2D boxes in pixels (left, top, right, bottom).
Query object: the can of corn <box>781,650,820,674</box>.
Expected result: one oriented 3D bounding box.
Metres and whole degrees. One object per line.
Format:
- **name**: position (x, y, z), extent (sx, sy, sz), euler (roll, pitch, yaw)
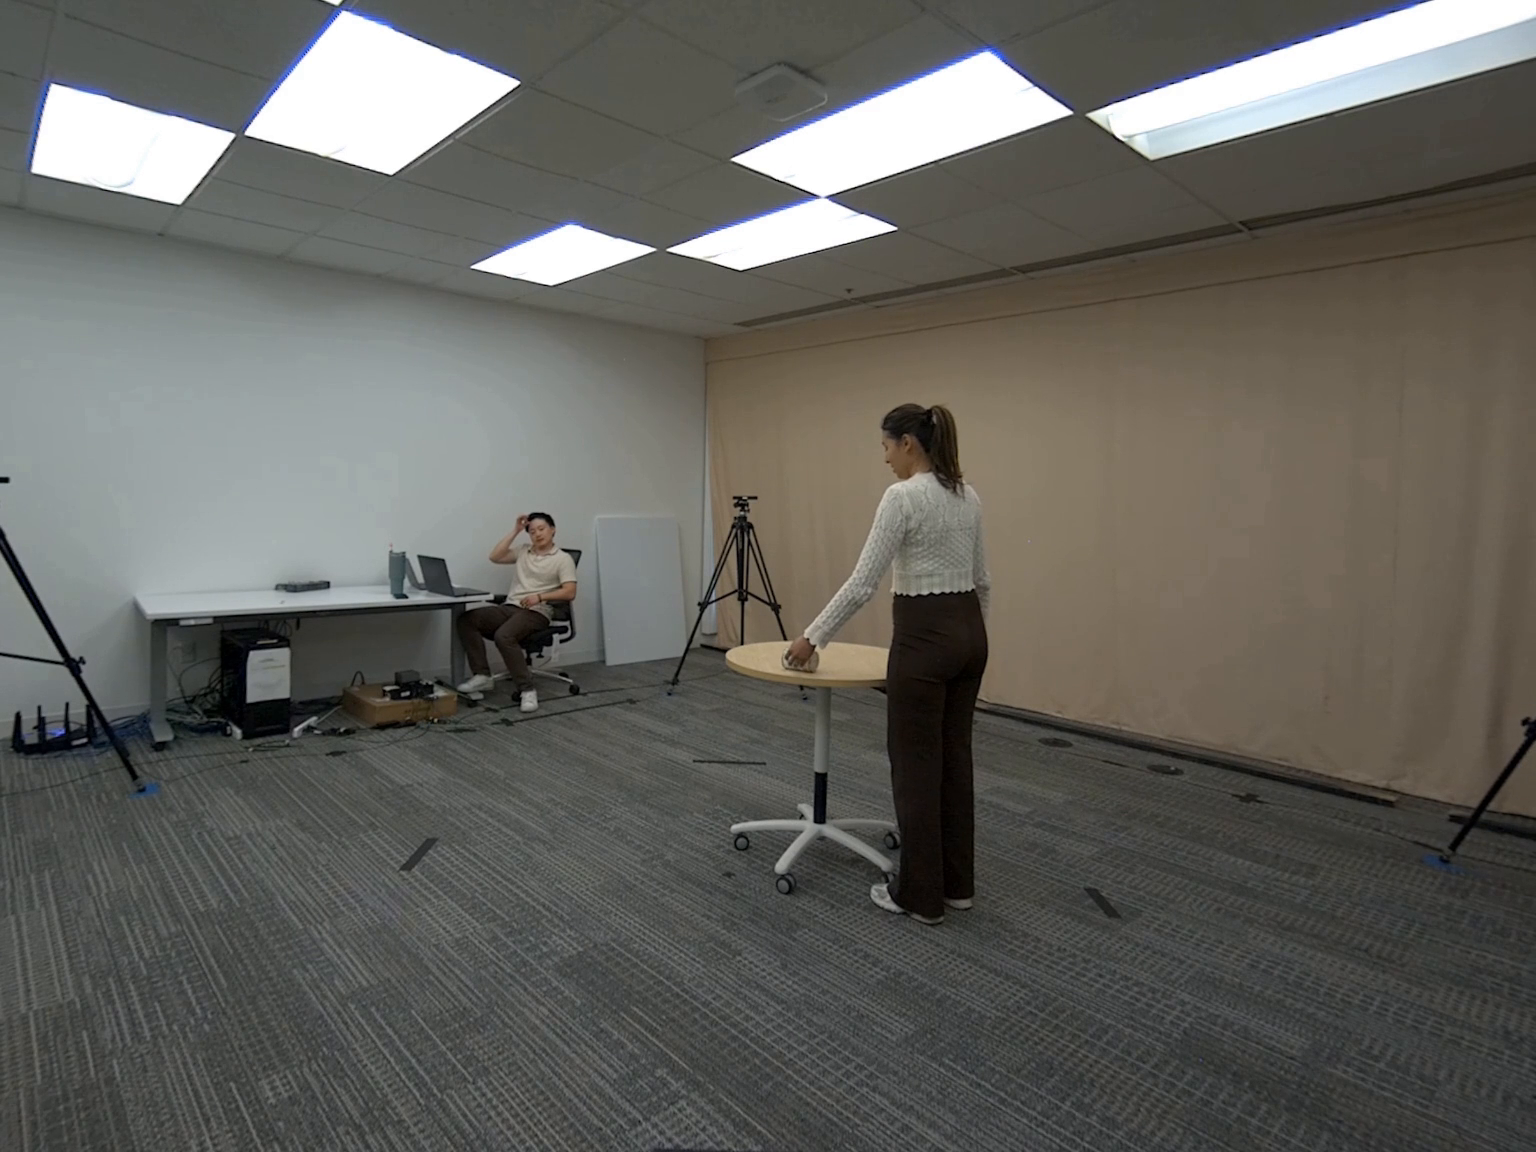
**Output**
- **can of corn**: position (0.115, 0.296, 3.010), extent (0.112, 0.074, 0.074), euler (3, 4, 7)
